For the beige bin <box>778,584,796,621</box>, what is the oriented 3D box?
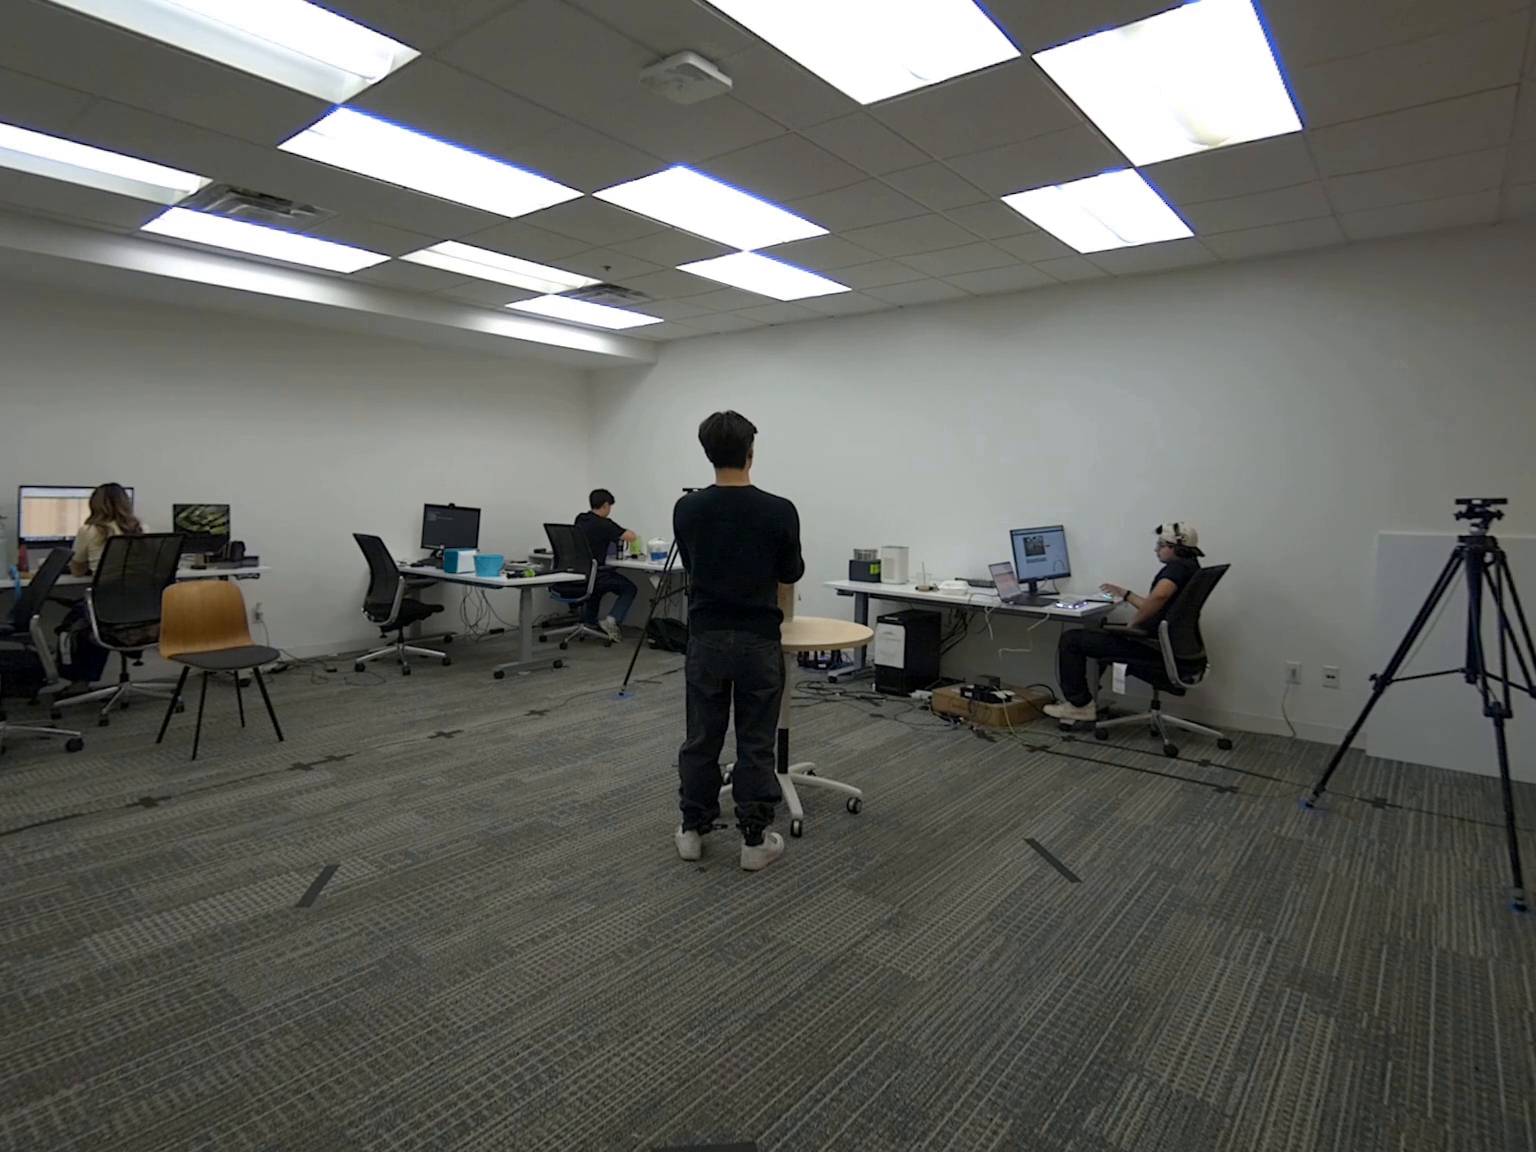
[{"bbox_3d":[-0.061,0.054,3.804,0.379,0.187,0.425,2,12,3],"label":"beige bin"}]
